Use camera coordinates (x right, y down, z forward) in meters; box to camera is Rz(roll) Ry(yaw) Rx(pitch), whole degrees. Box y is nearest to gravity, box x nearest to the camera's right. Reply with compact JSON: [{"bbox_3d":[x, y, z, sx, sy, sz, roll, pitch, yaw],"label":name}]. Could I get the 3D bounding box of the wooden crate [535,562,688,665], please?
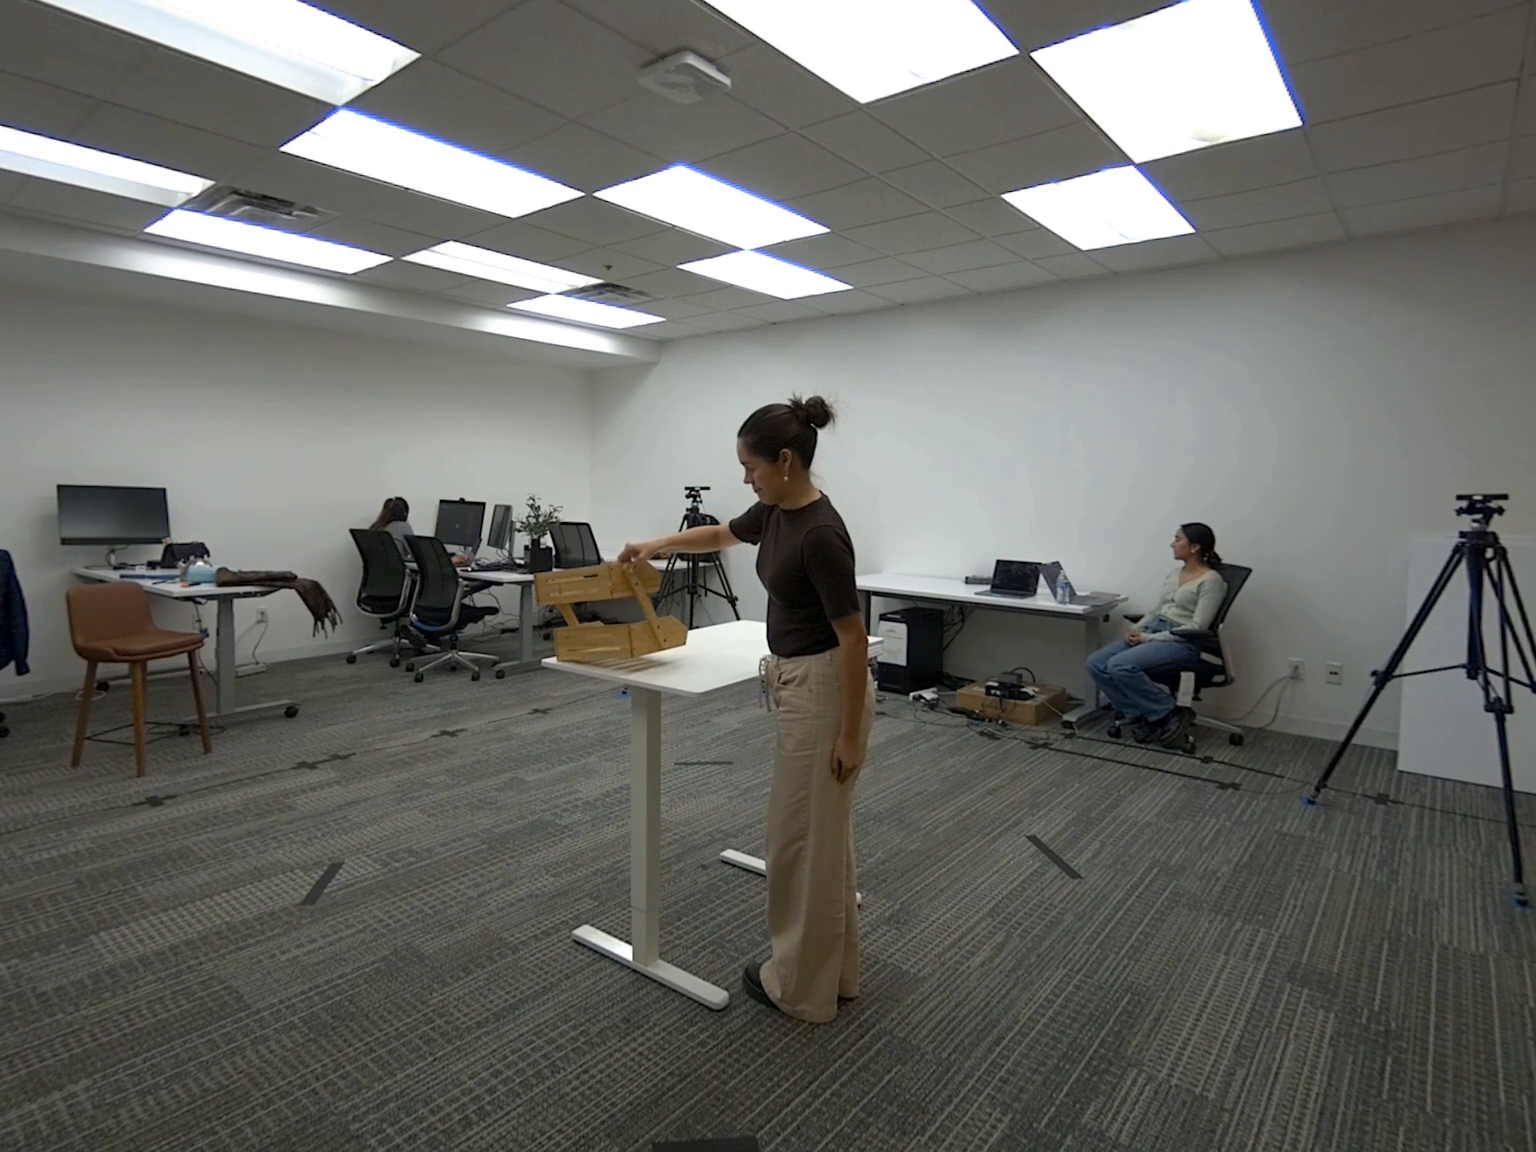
[{"bbox_3d":[-0.462,0.091,2.469,0.333,0.274,0.294,-7,0,34],"label":"wooden crate"}]
